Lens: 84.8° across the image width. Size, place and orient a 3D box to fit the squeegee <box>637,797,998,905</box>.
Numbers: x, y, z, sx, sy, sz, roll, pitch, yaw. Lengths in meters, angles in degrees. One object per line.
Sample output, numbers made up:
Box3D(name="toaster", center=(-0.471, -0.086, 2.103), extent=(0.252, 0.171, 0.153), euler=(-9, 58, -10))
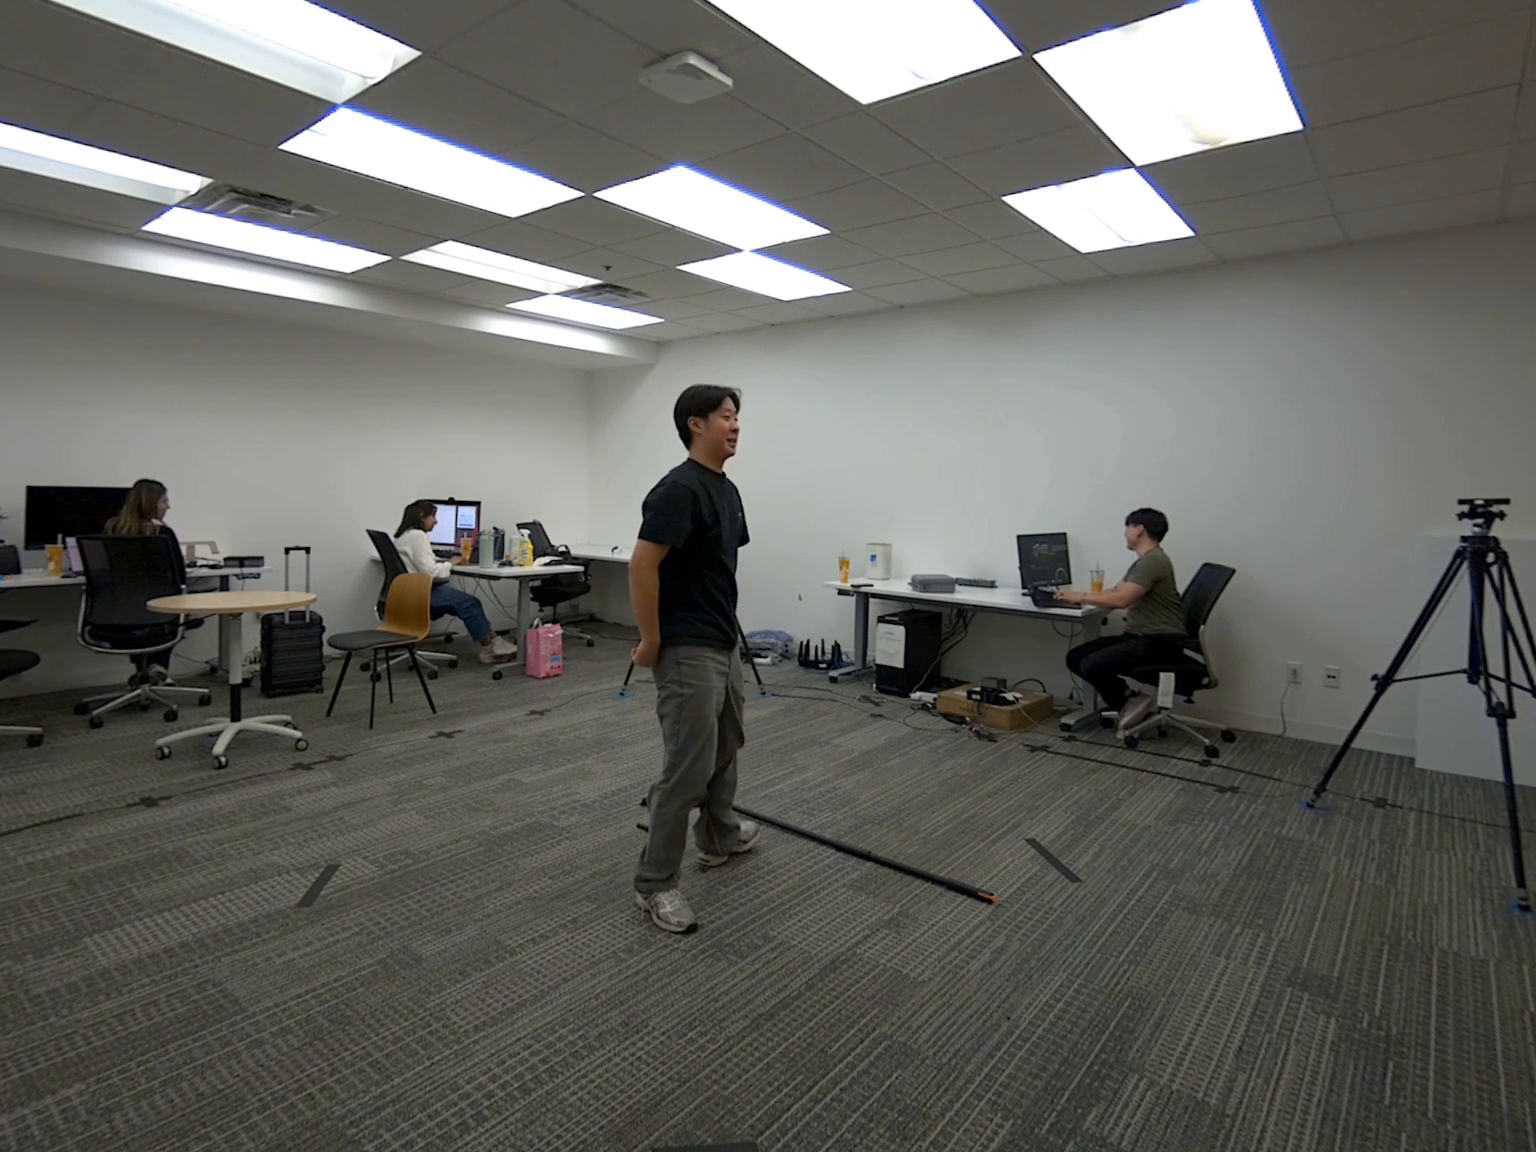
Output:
Box3D(name="squeegee", center=(0.159, 1.013, 3.378), extent=(1.591, 0.053, 0.425), euler=(7, 9, 40))
